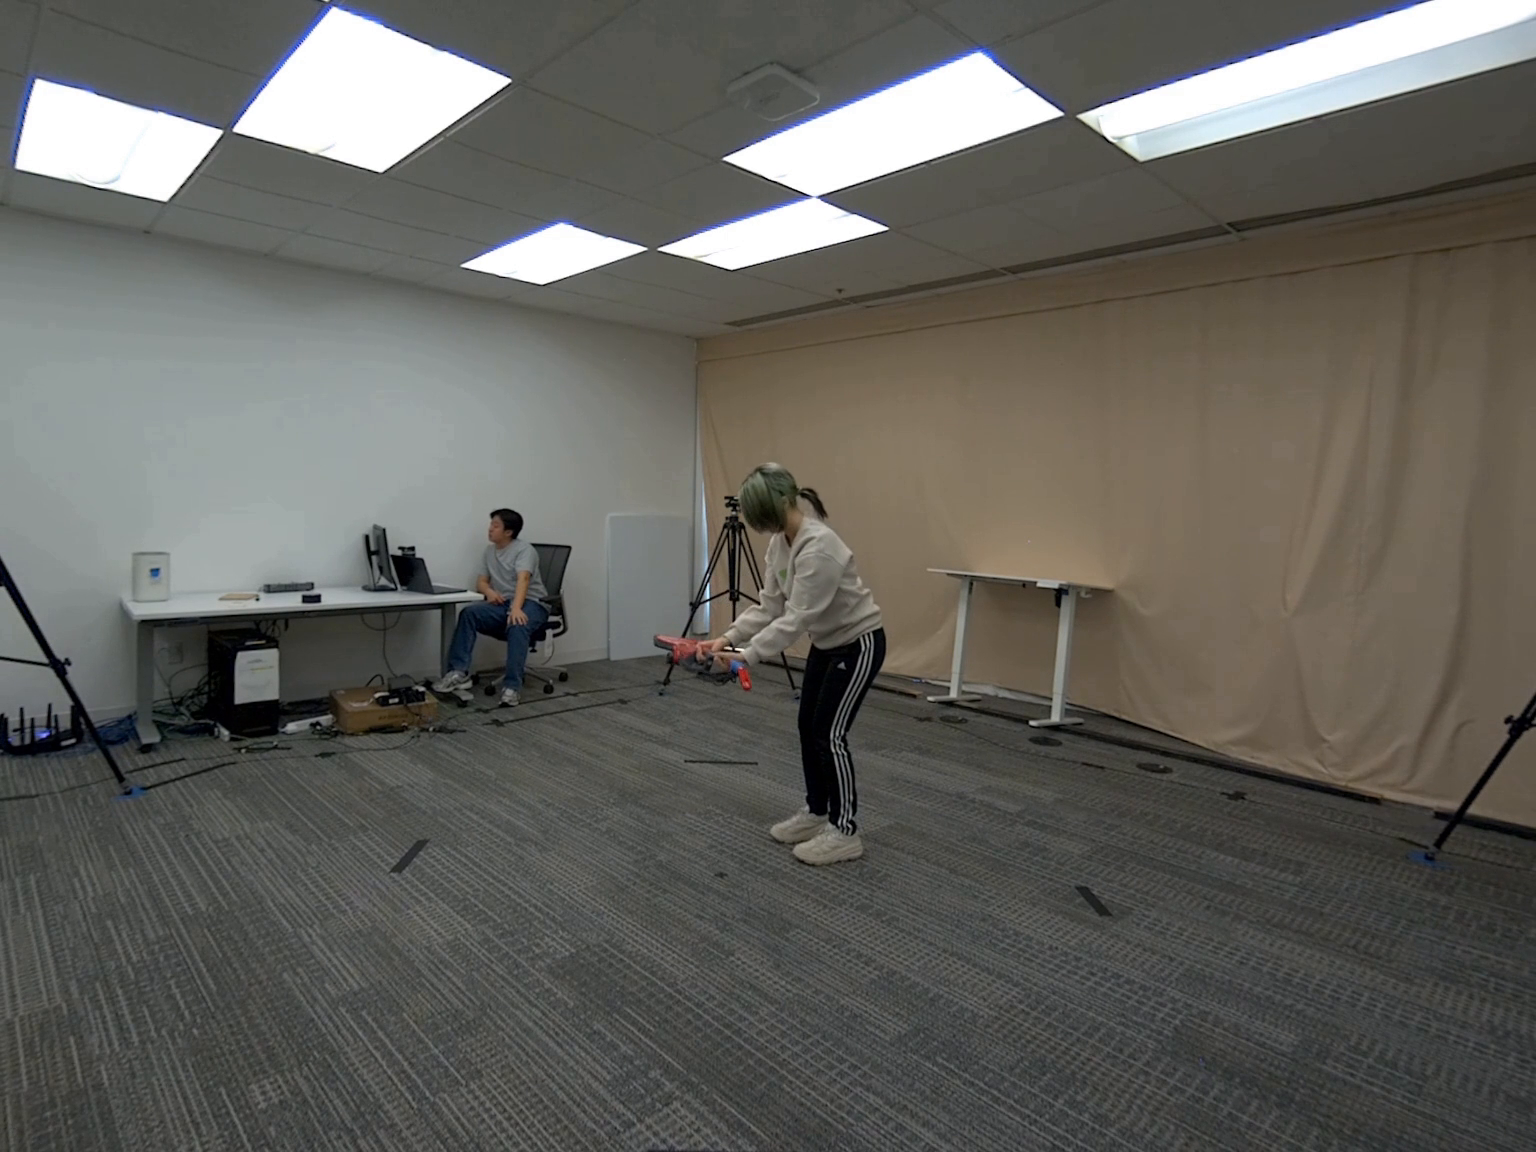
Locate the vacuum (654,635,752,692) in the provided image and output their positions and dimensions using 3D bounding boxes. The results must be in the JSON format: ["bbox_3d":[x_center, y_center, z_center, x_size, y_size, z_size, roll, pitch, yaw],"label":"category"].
[{"bbox_3d":[-0.225,0.352,3.239,0.249,0.144,1.063,12,-3,-18],"label":"vacuum"}]
